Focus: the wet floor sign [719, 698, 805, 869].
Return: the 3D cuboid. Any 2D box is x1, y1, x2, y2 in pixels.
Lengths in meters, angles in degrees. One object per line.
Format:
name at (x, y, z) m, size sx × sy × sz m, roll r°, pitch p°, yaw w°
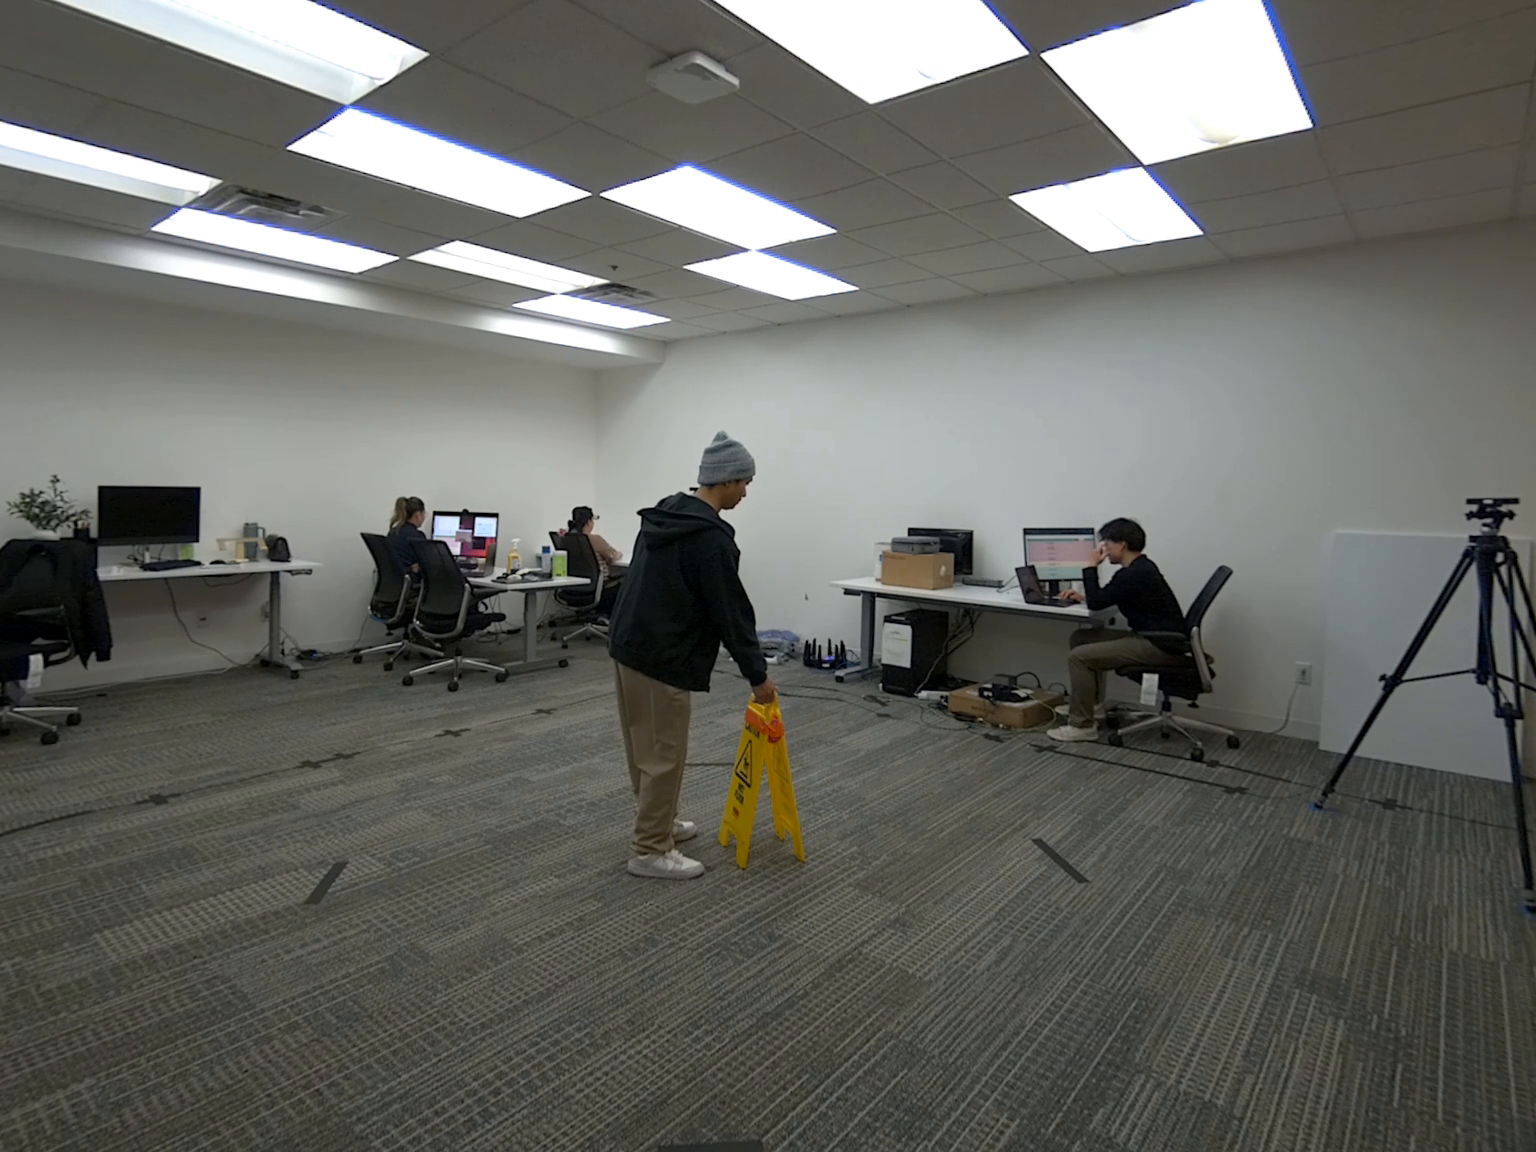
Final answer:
wet floor sign at (-0.027, 0.731, 3.260) m, size 0.284 × 0.644 × 0.289 m, roll 1°, pitch 4°, yaw -19°
